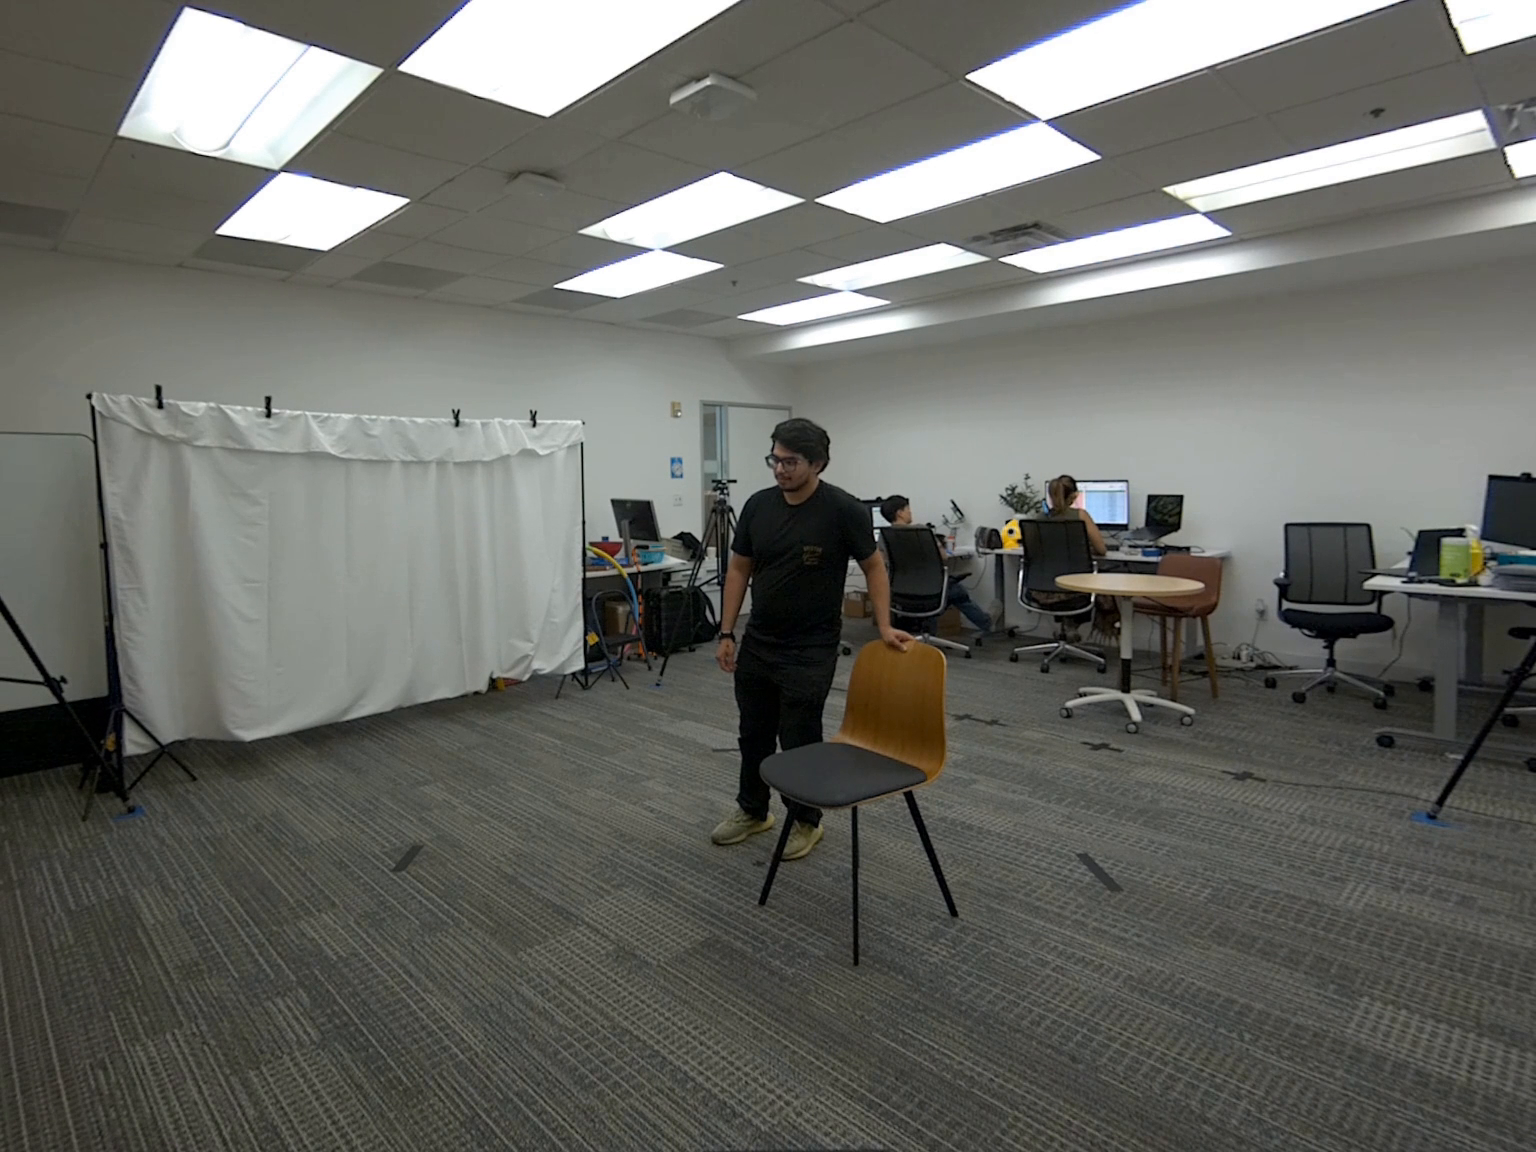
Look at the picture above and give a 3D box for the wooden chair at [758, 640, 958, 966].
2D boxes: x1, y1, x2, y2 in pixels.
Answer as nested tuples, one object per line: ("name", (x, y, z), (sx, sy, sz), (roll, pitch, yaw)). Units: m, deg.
("wooden chair", (0.279, 0.660, 2.716), (0.508, 0.877, 0.492), (1, 1, -38))
